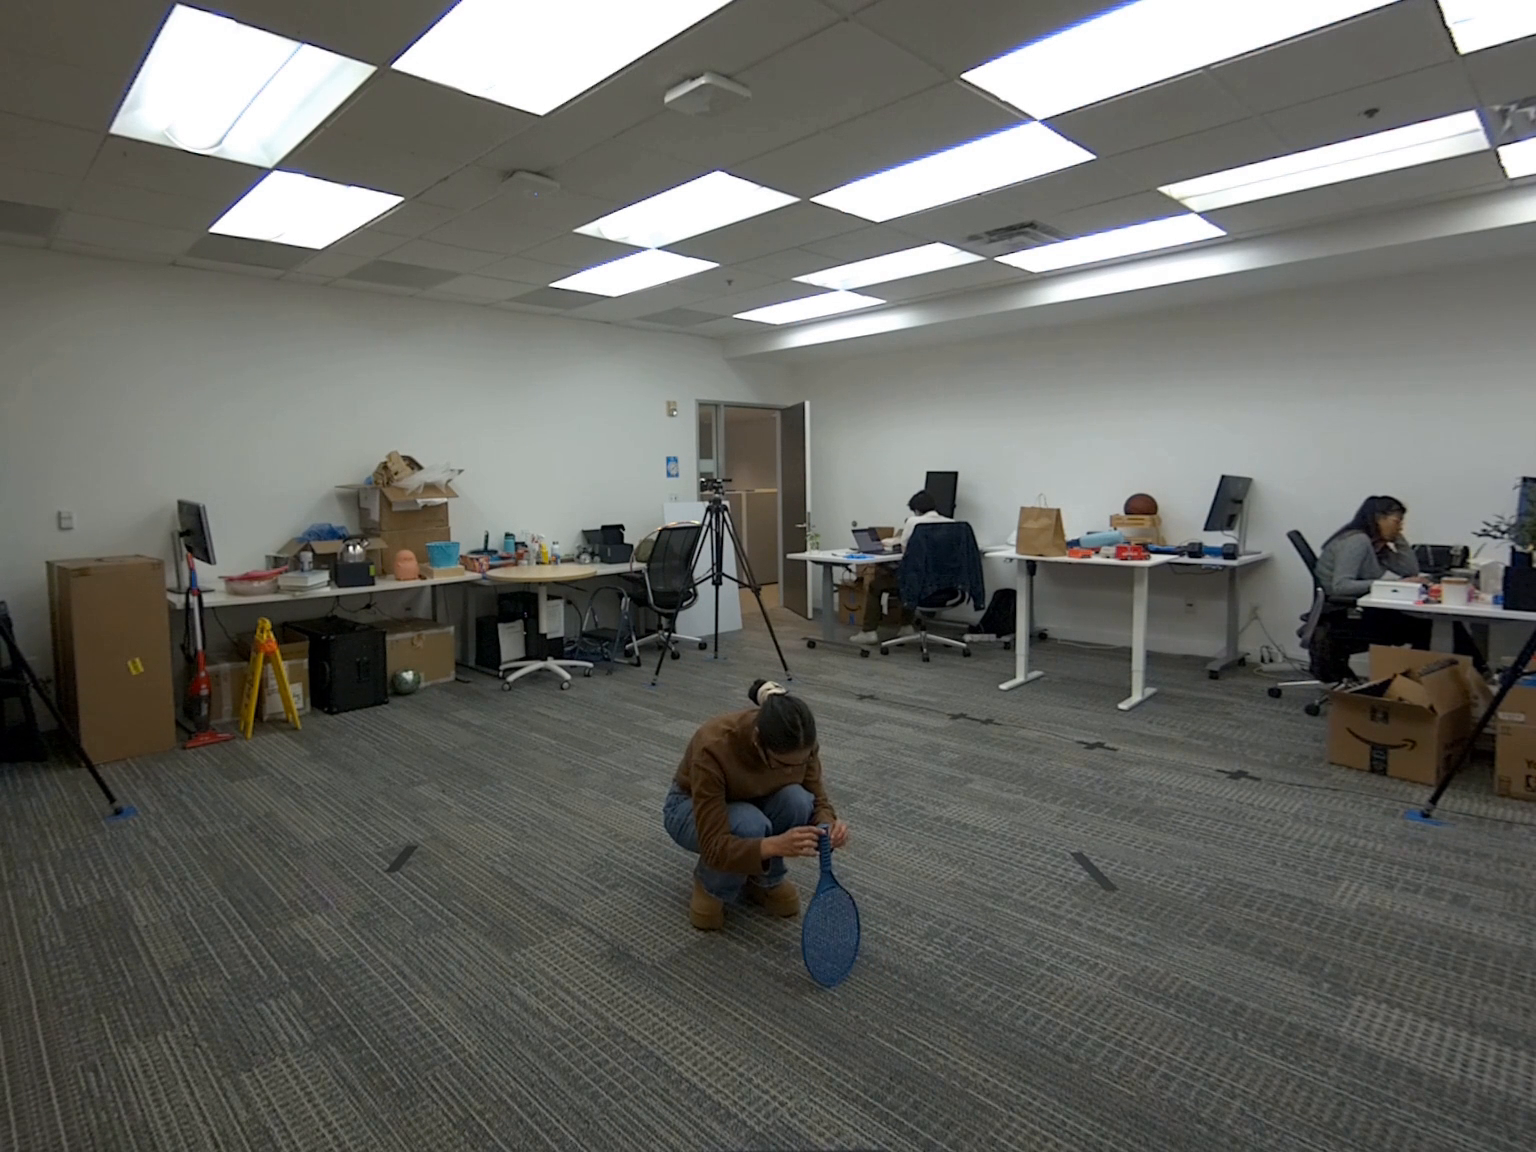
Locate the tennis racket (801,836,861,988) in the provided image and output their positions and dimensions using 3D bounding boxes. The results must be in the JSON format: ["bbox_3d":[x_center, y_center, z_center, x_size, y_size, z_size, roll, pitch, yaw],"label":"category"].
[{"bbox_3d":[0.176,0.913,2.363,0.208,0.433,0.032,-6,0,-38],"label":"tennis racket"}]
